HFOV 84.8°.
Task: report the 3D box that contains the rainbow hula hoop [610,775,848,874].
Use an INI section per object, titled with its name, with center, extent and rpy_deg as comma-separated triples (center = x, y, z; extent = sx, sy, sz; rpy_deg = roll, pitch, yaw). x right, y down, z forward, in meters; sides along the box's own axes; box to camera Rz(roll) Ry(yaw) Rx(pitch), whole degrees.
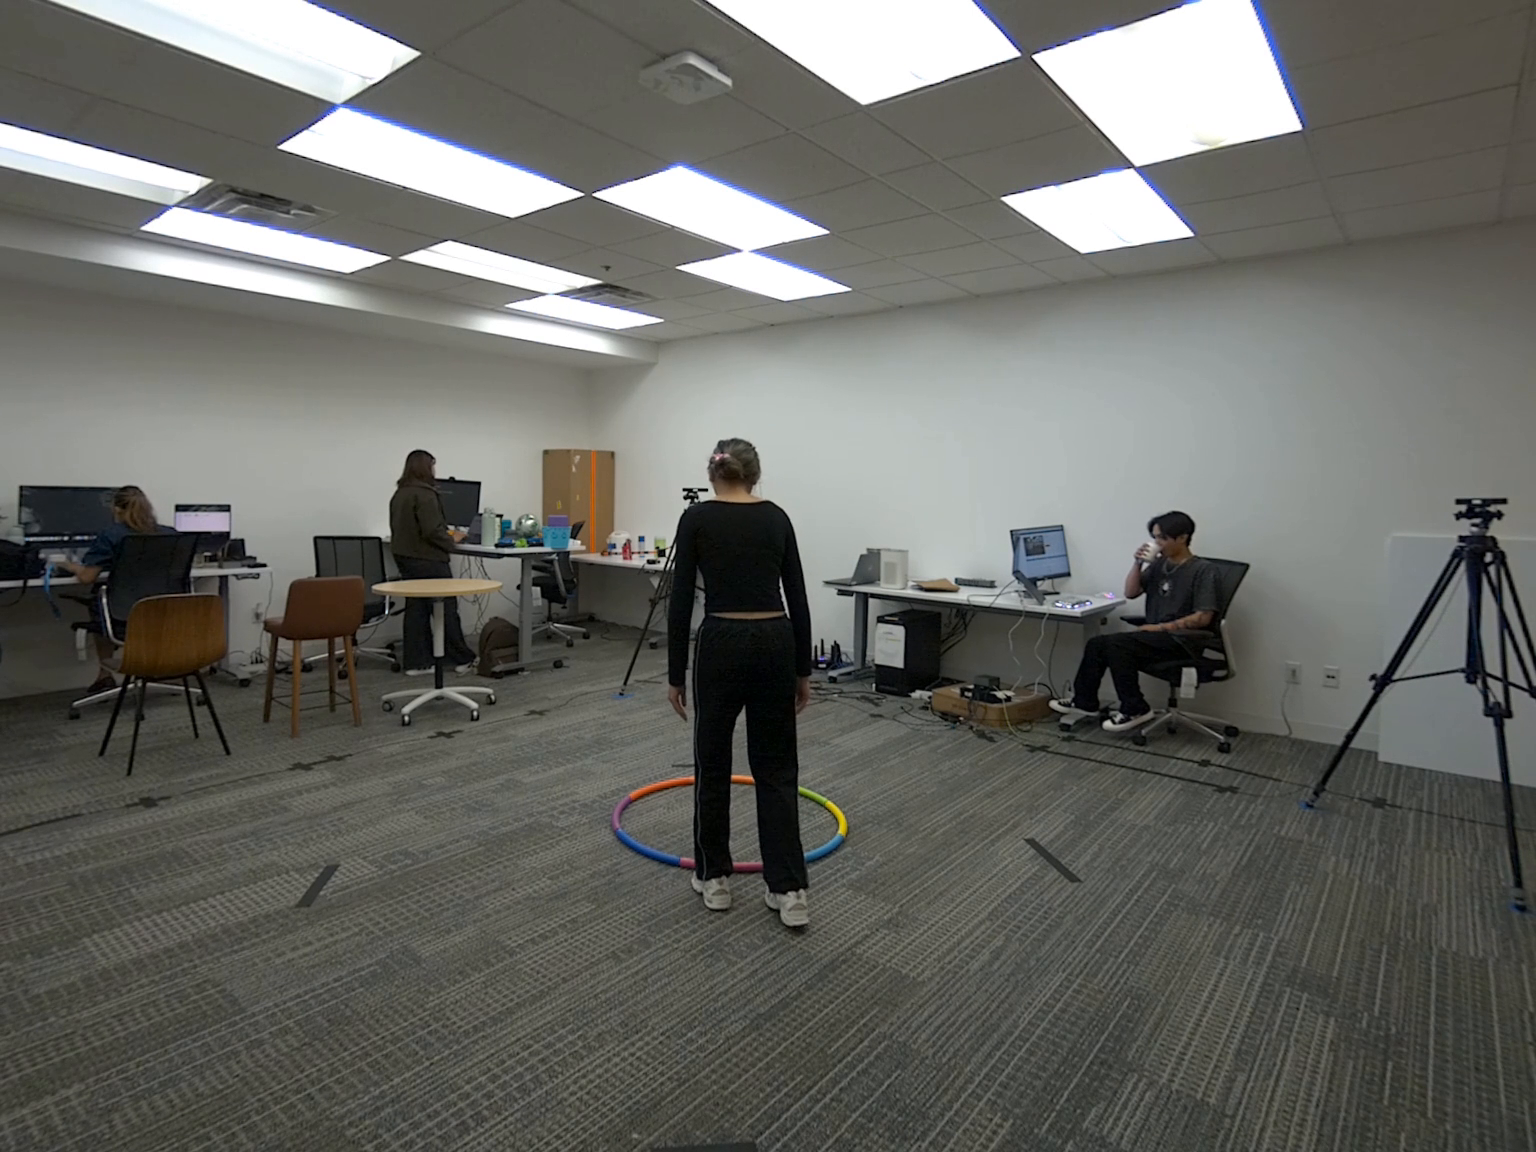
[rainbow hula hoop]
center = -0.174, 0.997, 3.560
extent = 0.978, 0.035, 0.984
rpy_deg = 1, 6, -2
